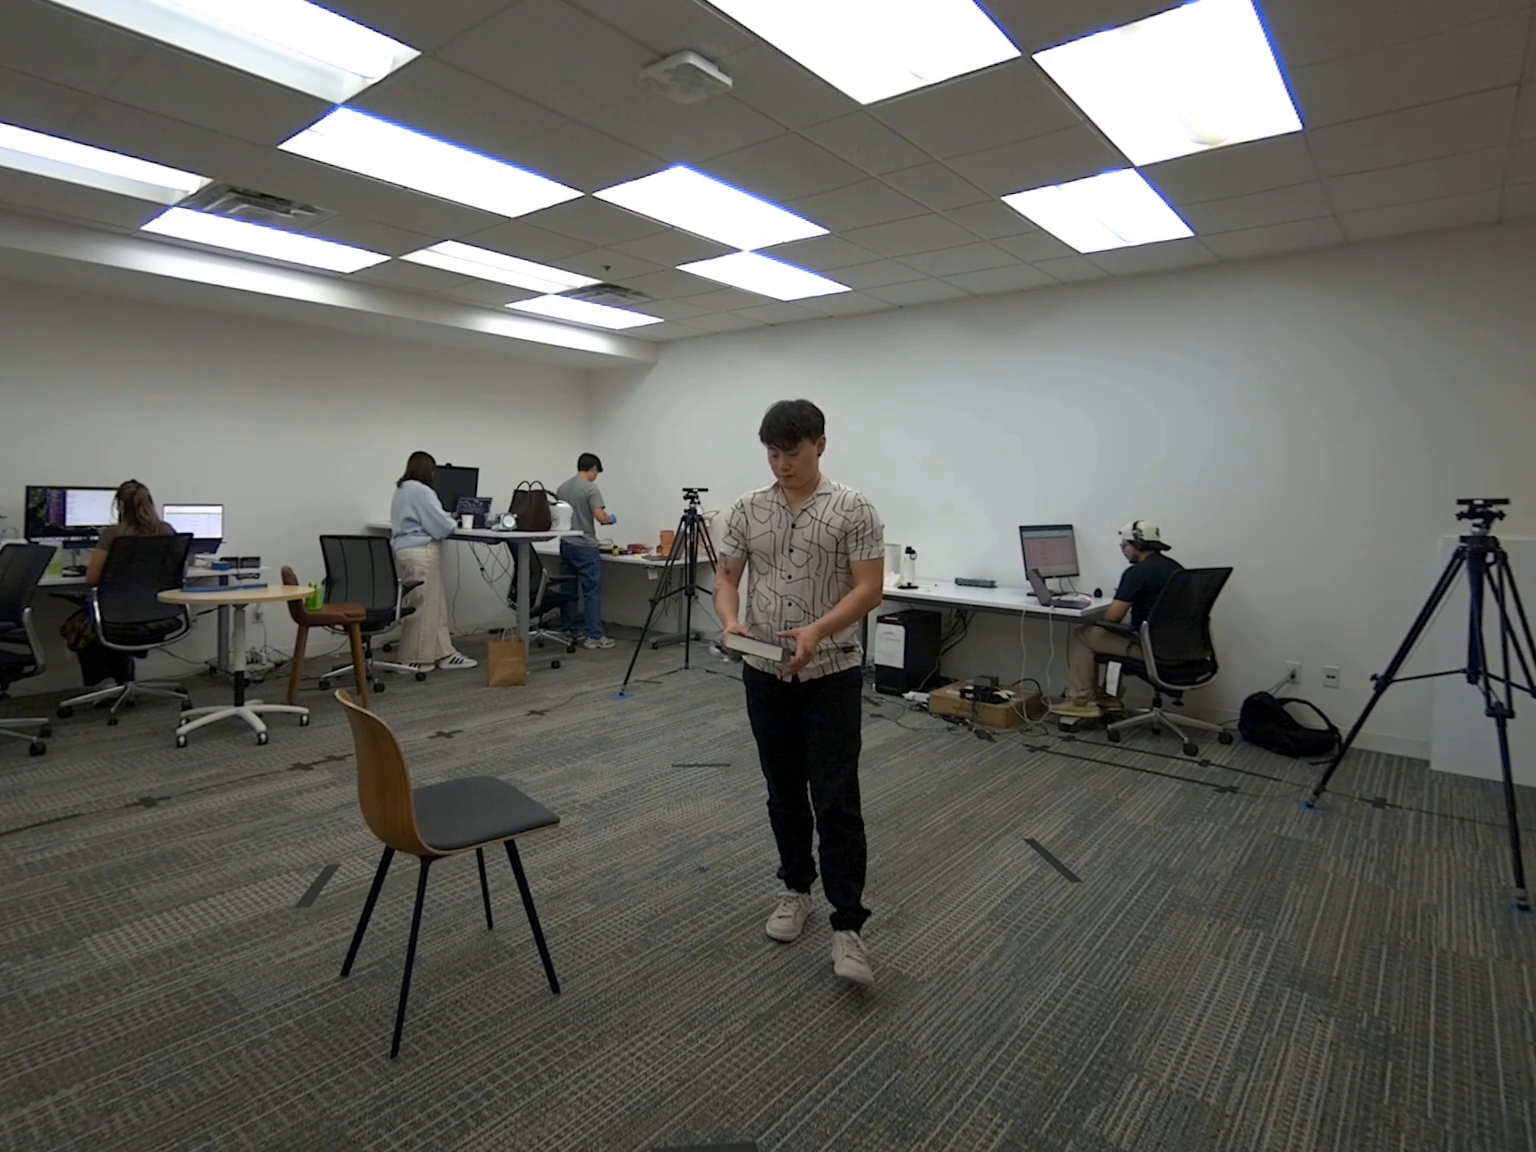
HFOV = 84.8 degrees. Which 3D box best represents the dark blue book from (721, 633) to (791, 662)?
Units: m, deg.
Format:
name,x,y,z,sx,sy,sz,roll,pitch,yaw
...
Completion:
name,x,y,z,sx,sy,sz,roll,pitch,yaw
dark blue book,-0.022,0.203,2.415,0.164,0.045,0.242,14,-5,3
